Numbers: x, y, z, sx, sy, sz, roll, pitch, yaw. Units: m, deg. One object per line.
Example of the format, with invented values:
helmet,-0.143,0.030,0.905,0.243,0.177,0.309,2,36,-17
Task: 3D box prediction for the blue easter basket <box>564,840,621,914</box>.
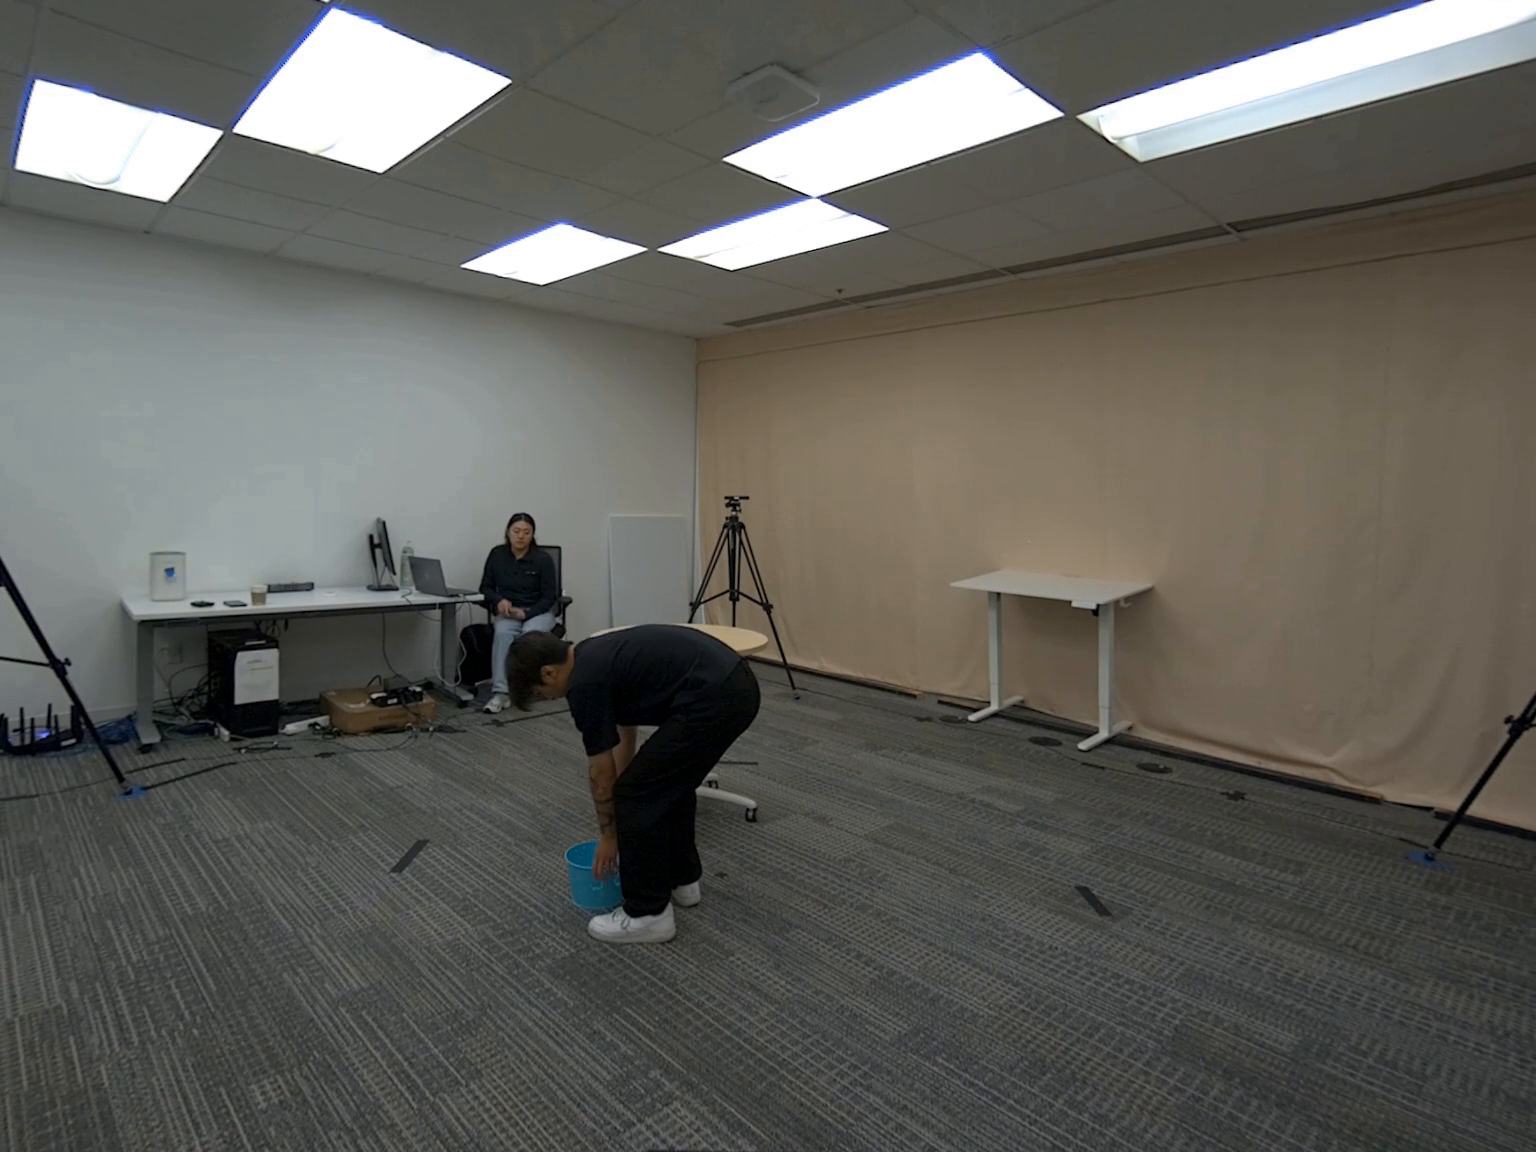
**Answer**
blue easter basket,-0.578,1.027,2.914,0.243,0.155,0.244,2,3,-1
